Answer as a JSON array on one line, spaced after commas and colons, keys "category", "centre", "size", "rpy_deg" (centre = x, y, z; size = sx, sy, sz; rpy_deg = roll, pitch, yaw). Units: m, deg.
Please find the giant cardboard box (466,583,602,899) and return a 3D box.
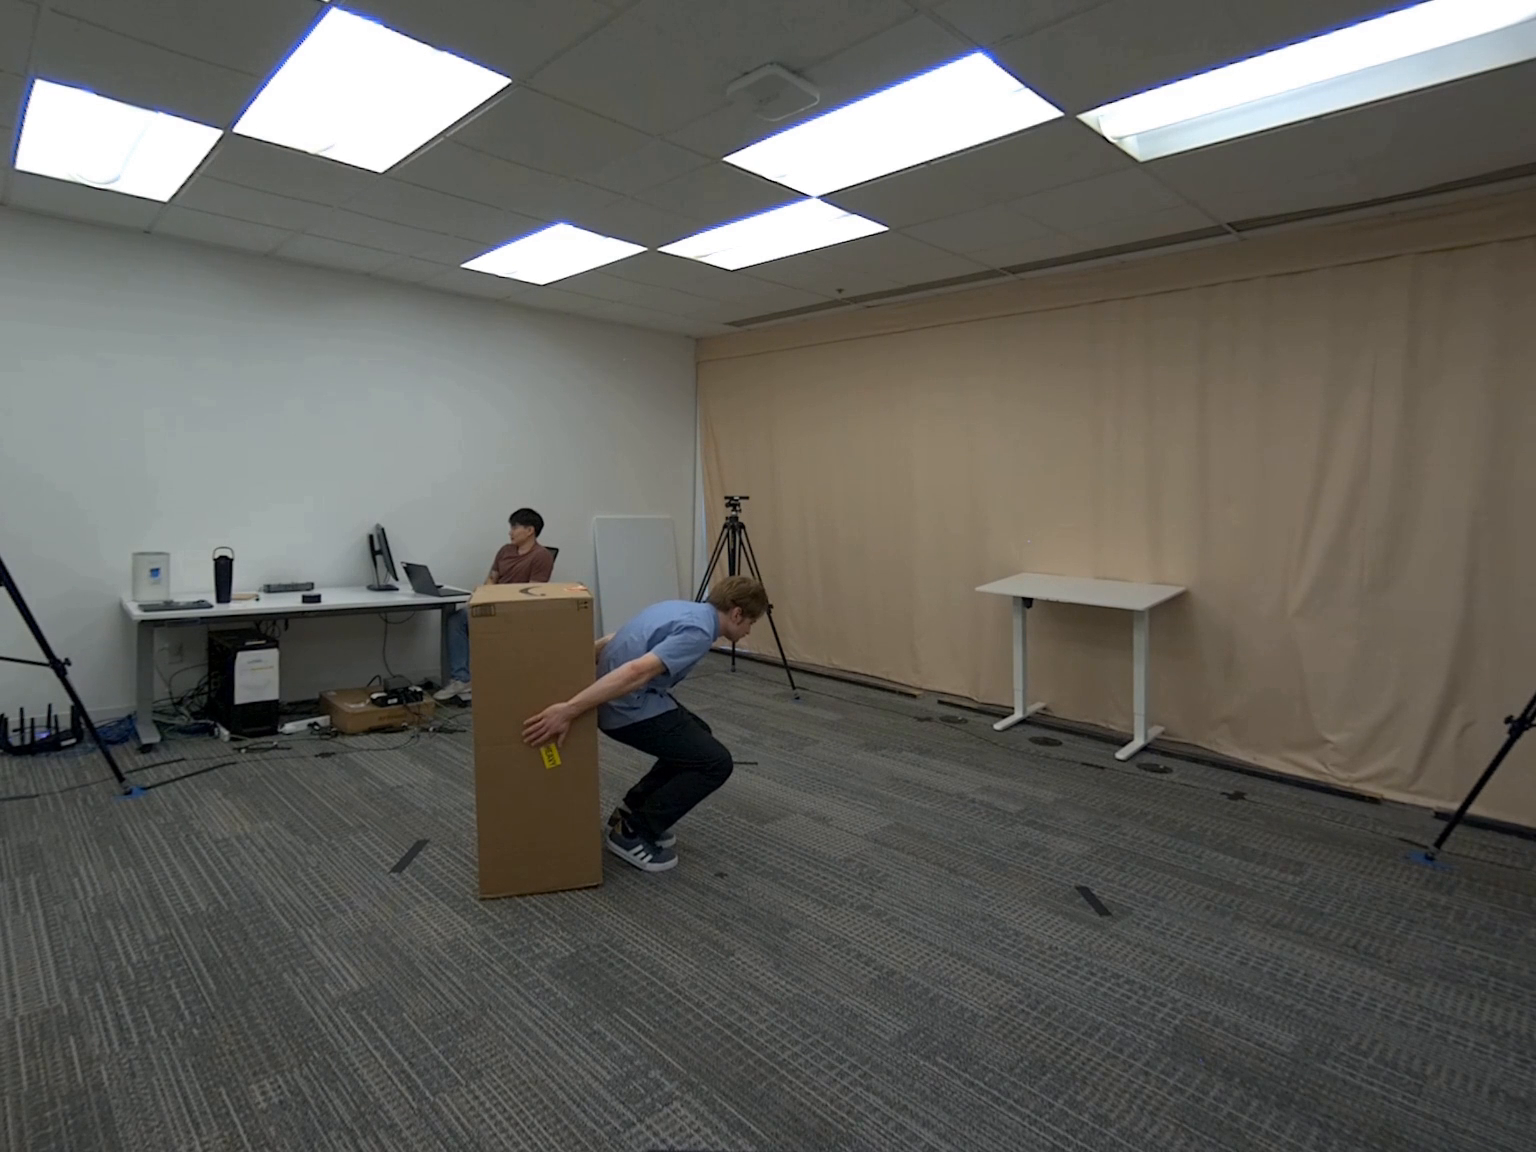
[{"category": "giant cardboard box", "centre": [-0.885, 0.571, 3.165], "size": [0.441, 1.024, 0.592], "rpy_deg": [-2, 4, -17]}]
